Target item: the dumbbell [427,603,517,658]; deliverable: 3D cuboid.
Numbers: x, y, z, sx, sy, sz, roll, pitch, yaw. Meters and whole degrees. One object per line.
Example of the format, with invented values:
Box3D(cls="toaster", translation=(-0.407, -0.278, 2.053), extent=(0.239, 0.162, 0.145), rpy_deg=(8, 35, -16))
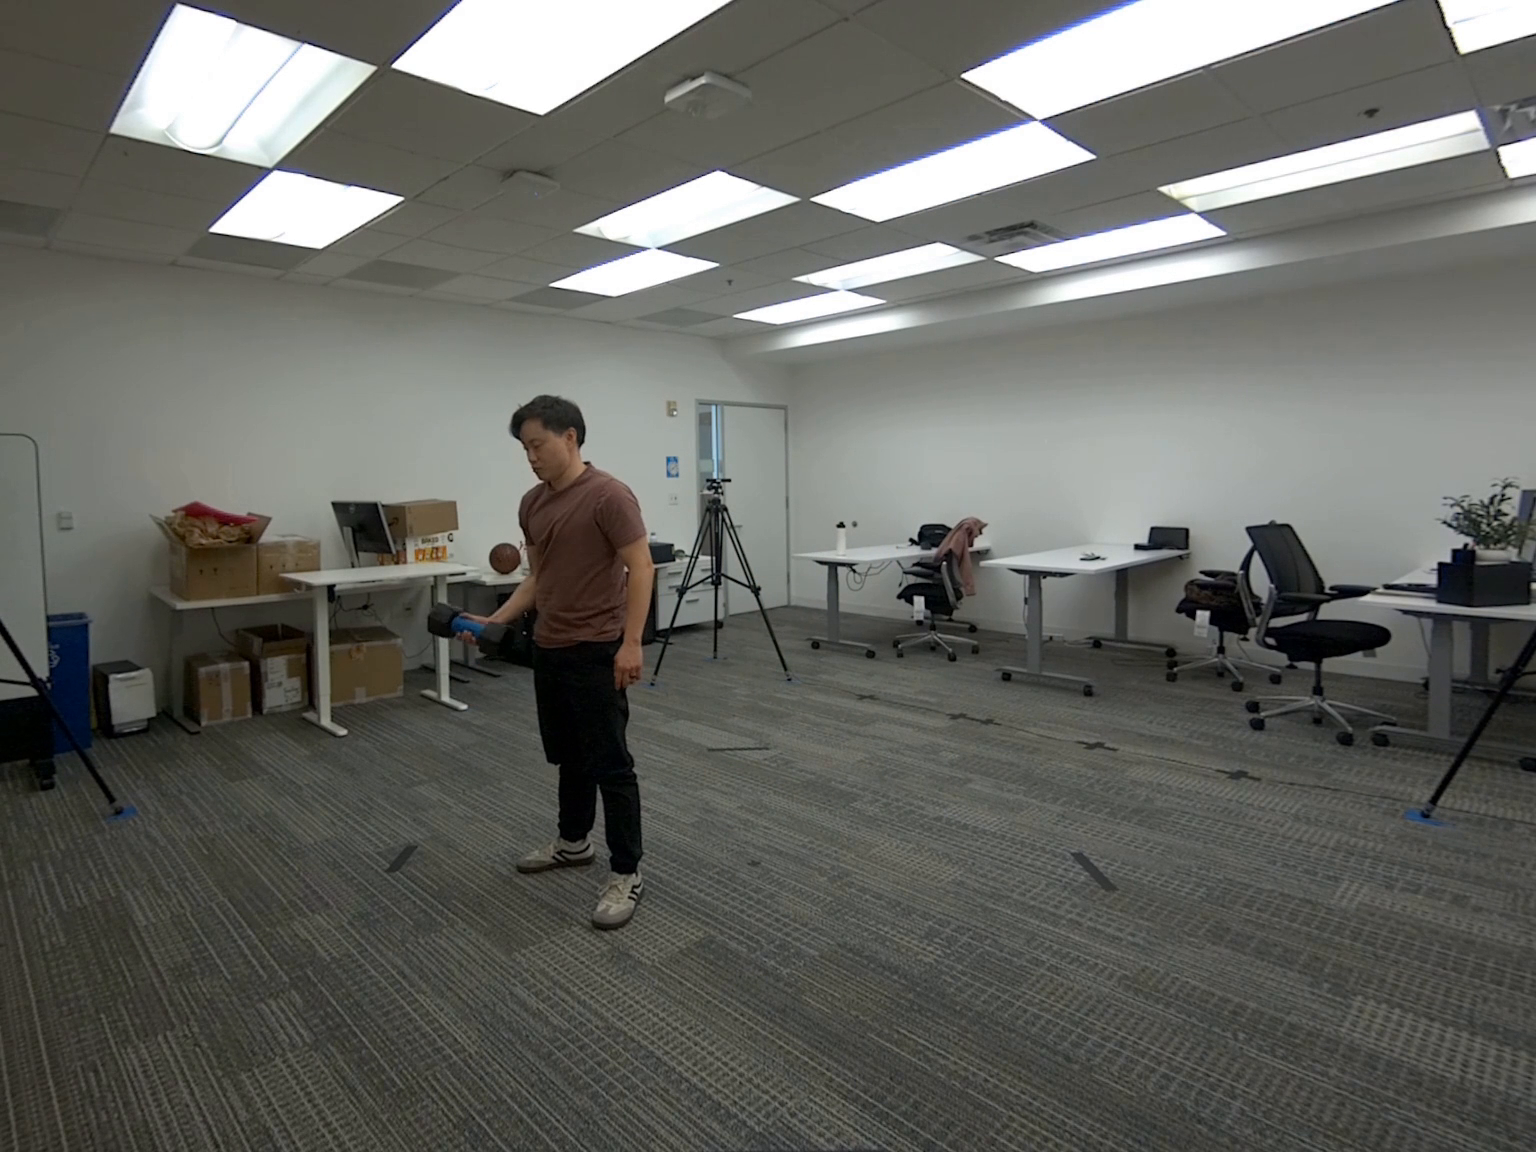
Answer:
Box3D(cls="dumbbell", translation=(-0.984, 0.165, 2.840), extent=(0.299, 0.109, 0.120), rpy_deg=(16, -5, 16))
